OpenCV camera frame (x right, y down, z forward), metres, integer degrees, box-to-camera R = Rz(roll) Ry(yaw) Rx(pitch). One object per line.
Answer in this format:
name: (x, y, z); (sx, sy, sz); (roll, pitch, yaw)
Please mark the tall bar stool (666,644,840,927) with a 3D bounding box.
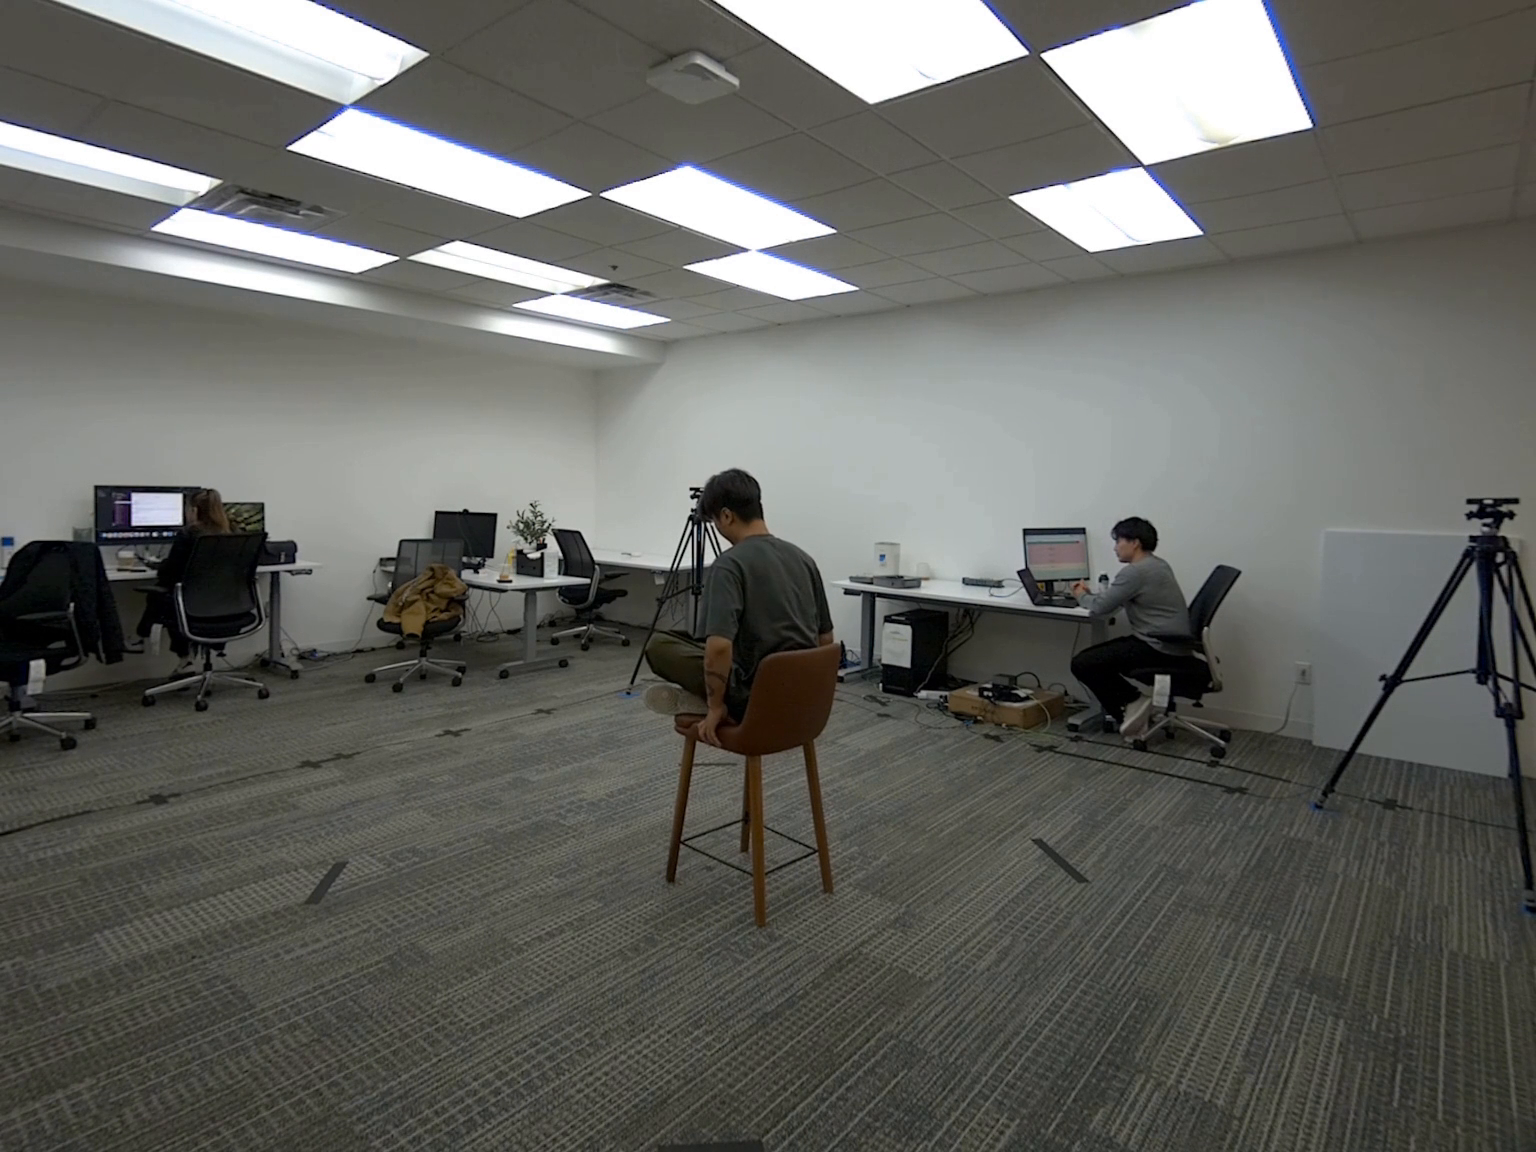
tall bar stool: (-0.053, 0.649, 2.954); (0.484, 0.886, 0.442); (7, 6, 44)
